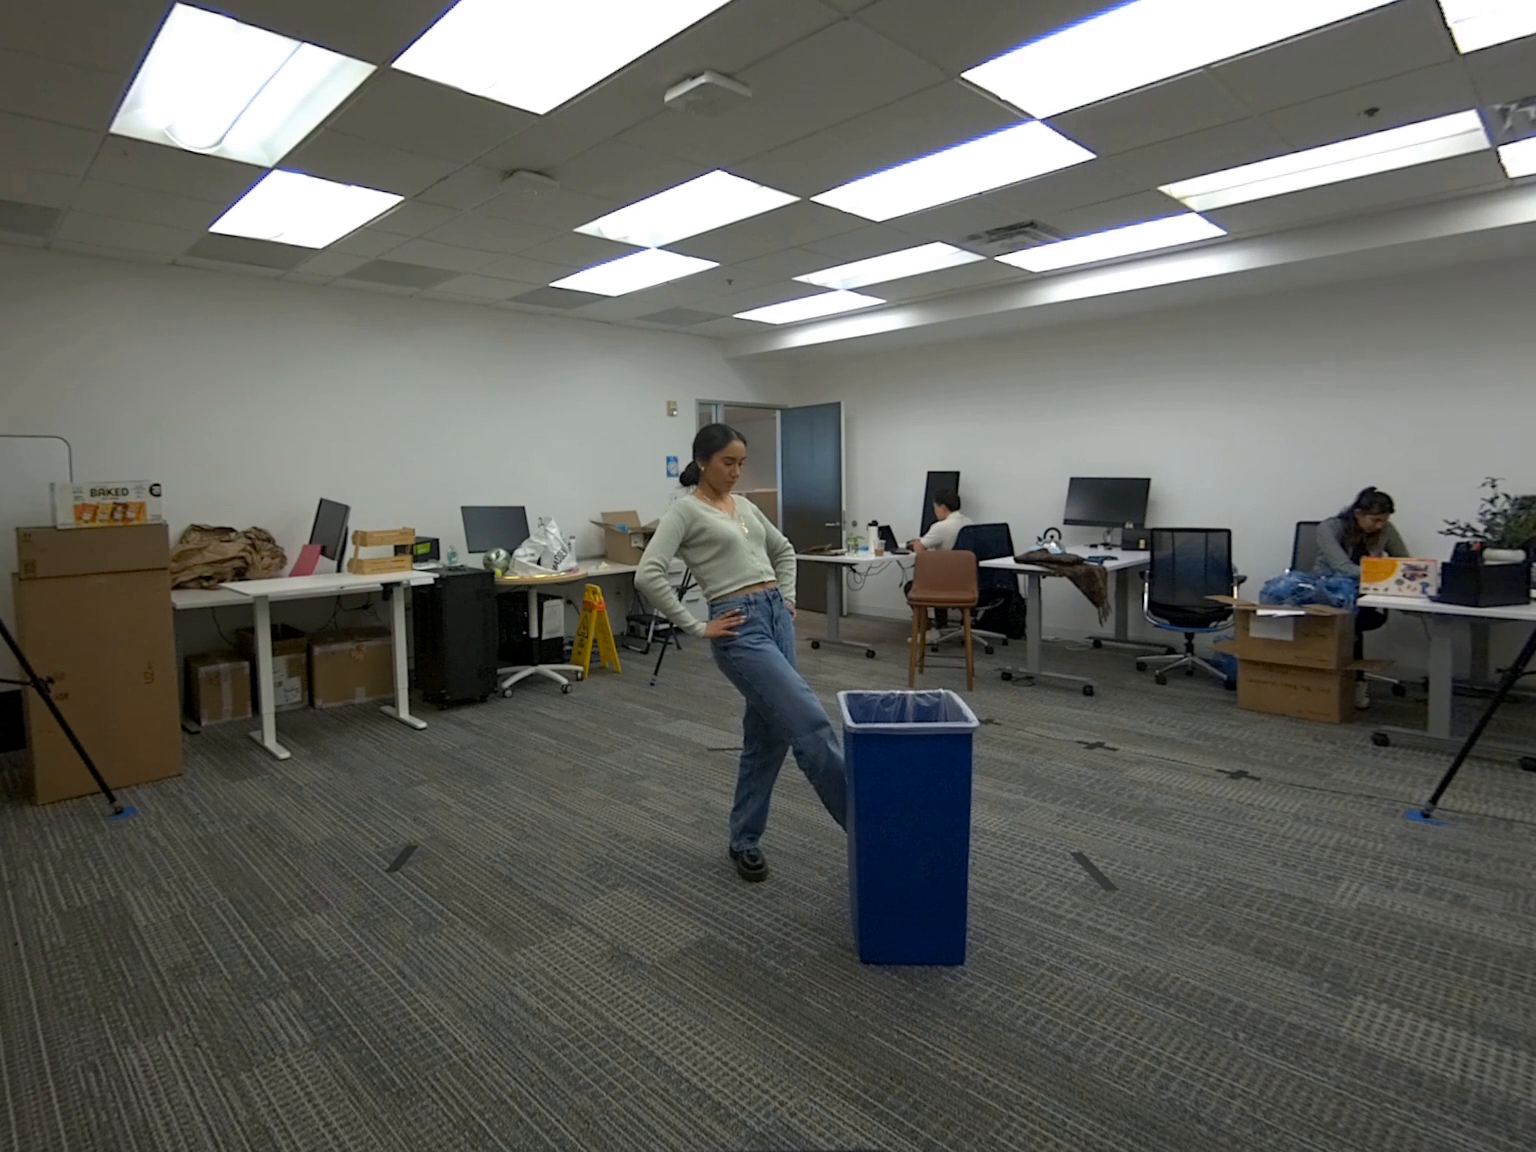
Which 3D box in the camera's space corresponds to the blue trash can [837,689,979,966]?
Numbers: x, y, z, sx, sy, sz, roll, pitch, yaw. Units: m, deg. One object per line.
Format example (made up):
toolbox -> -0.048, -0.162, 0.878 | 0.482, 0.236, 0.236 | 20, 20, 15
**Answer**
blue trash can -> 0.411, 0.742, 2.557 | 0.375, 0.710, 0.379 | -1, 5, 1
